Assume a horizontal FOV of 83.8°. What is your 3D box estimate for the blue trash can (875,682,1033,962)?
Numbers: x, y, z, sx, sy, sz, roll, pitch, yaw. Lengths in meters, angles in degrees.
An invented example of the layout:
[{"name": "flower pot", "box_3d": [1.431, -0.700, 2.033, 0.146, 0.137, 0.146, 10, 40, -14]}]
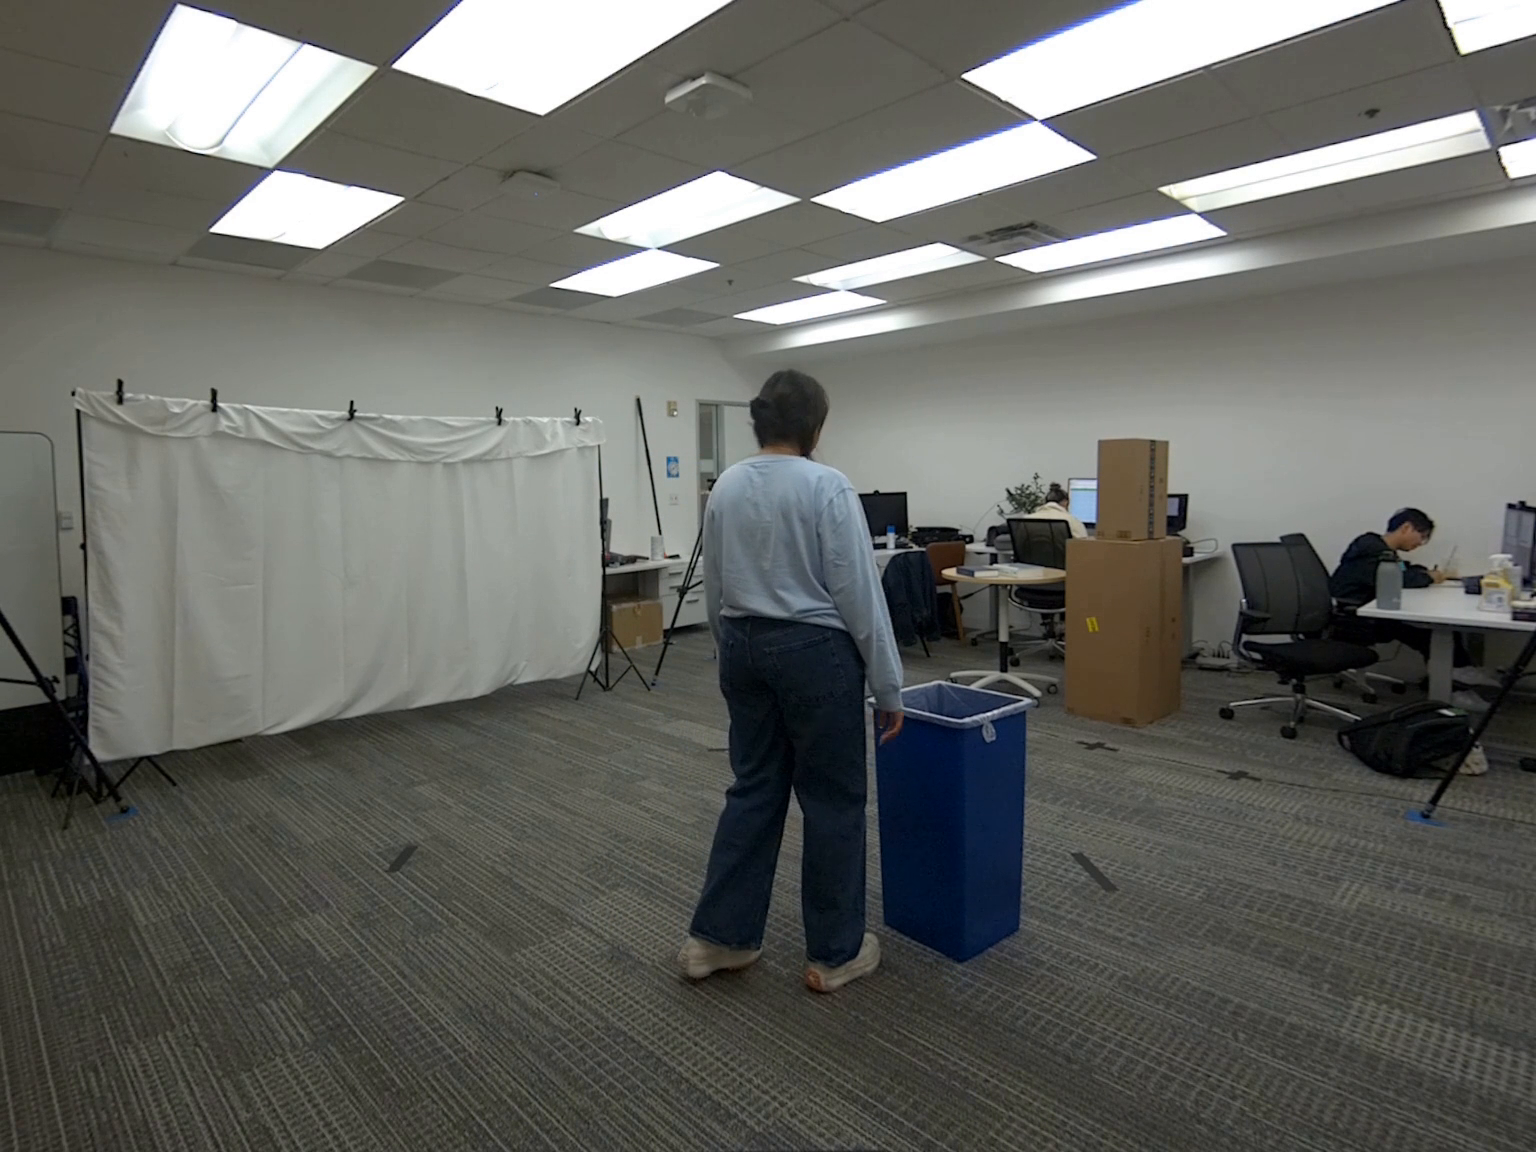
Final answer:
[{"name": "blue trash can", "box_3d": [0.568, 0.732, 2.643, 0.364, 0.711, 0.389, -5, 5, -40]}]
